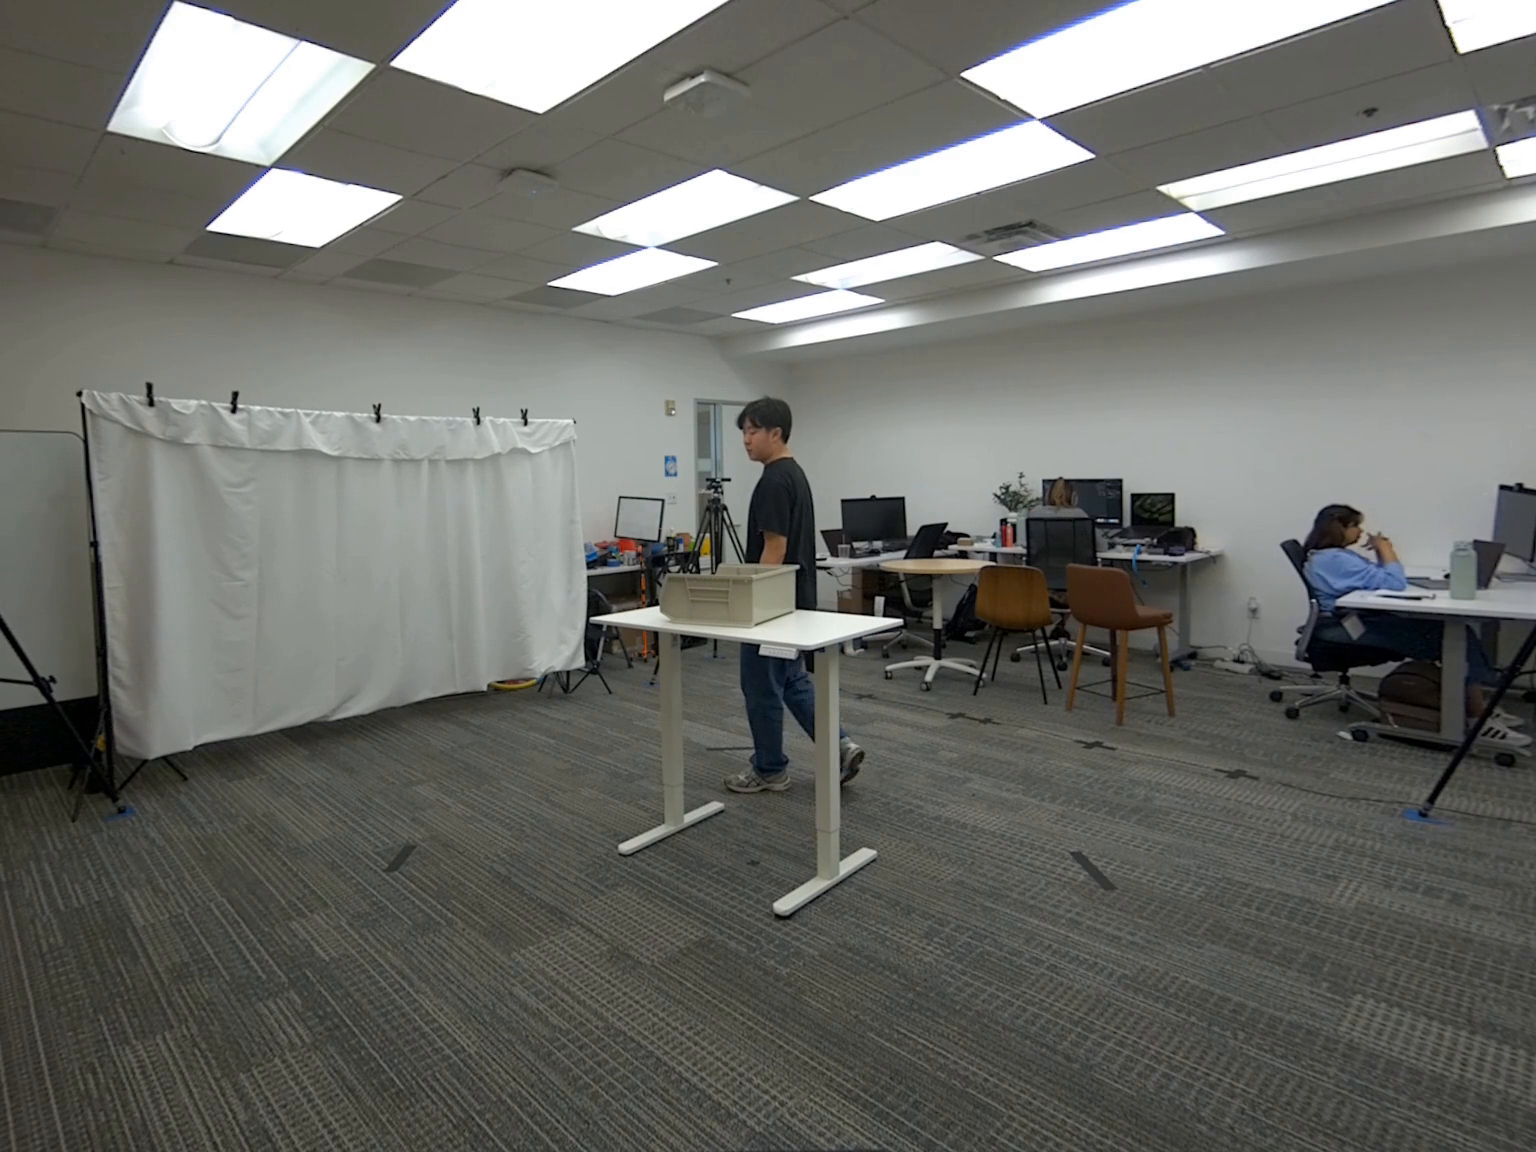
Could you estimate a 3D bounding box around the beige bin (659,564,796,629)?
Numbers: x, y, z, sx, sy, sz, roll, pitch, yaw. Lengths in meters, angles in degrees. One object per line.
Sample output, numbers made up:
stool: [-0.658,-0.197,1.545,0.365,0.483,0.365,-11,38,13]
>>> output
beige bin: [-0.135,0.065,3.166,0.386,0.188,0.414,3,6,26]
